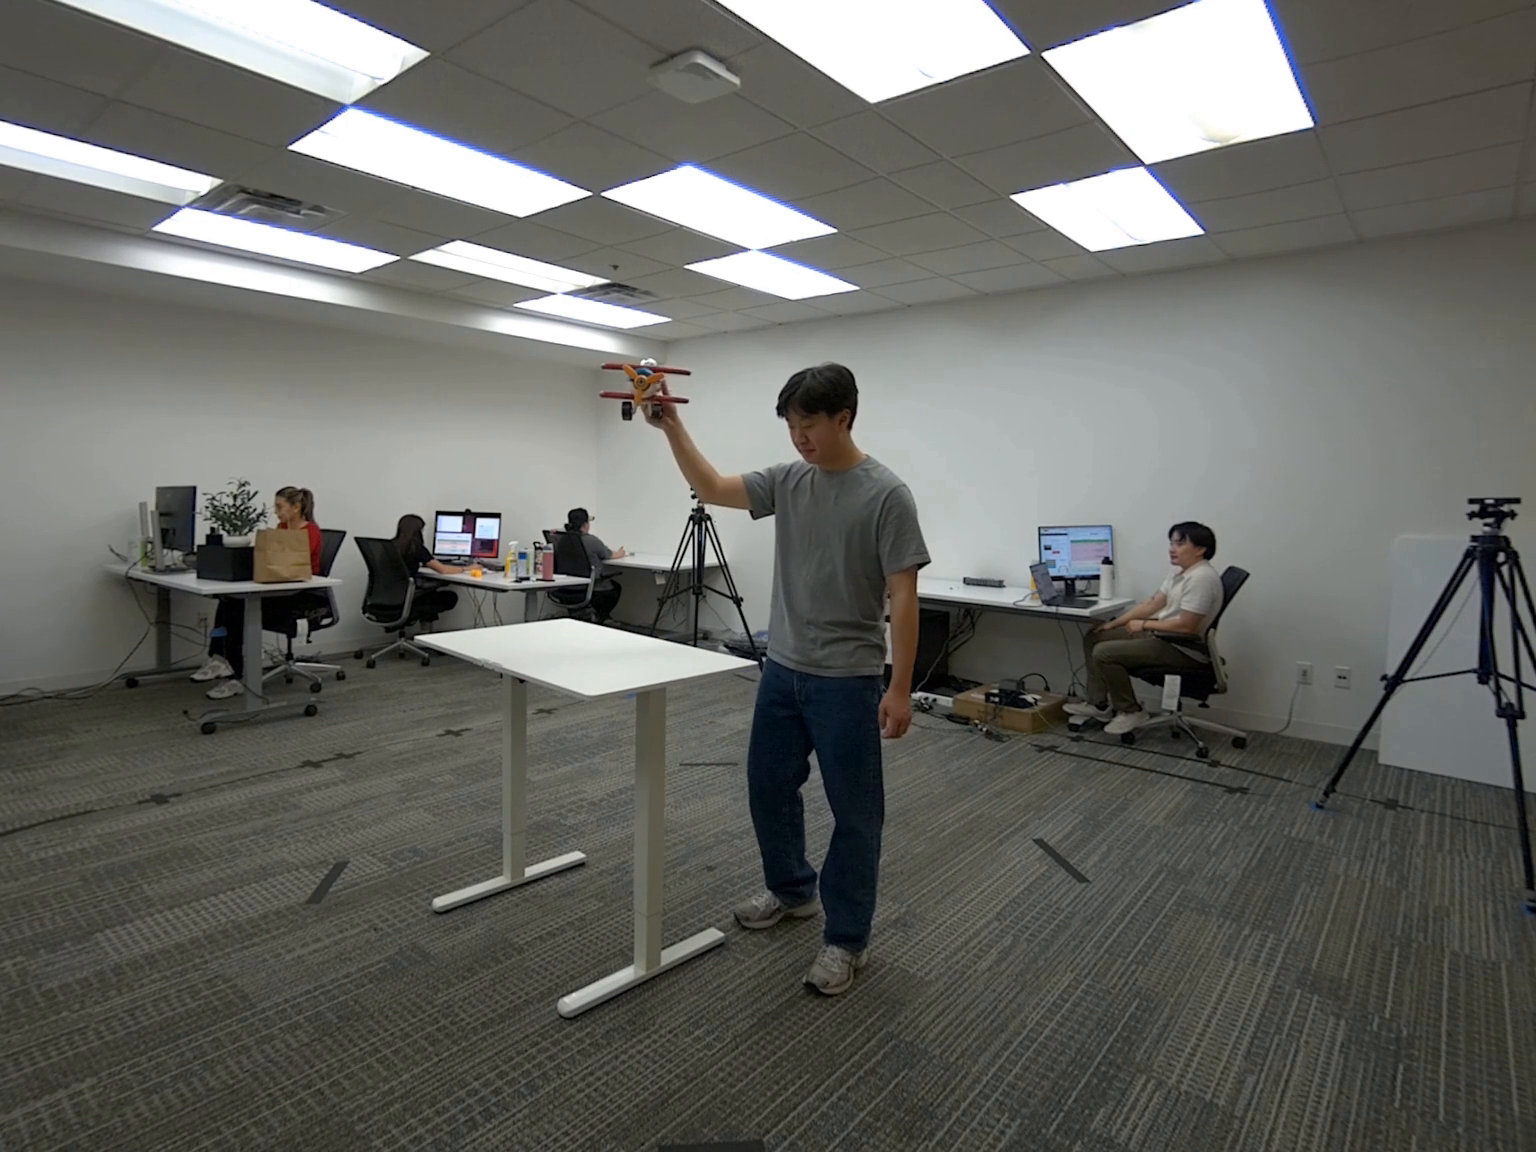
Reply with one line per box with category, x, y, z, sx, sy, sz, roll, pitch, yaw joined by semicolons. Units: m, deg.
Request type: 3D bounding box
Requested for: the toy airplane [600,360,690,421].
toy airplane;-0.376;-0.542;2.452;0.246;0.153;0.270;-7;26;-26
